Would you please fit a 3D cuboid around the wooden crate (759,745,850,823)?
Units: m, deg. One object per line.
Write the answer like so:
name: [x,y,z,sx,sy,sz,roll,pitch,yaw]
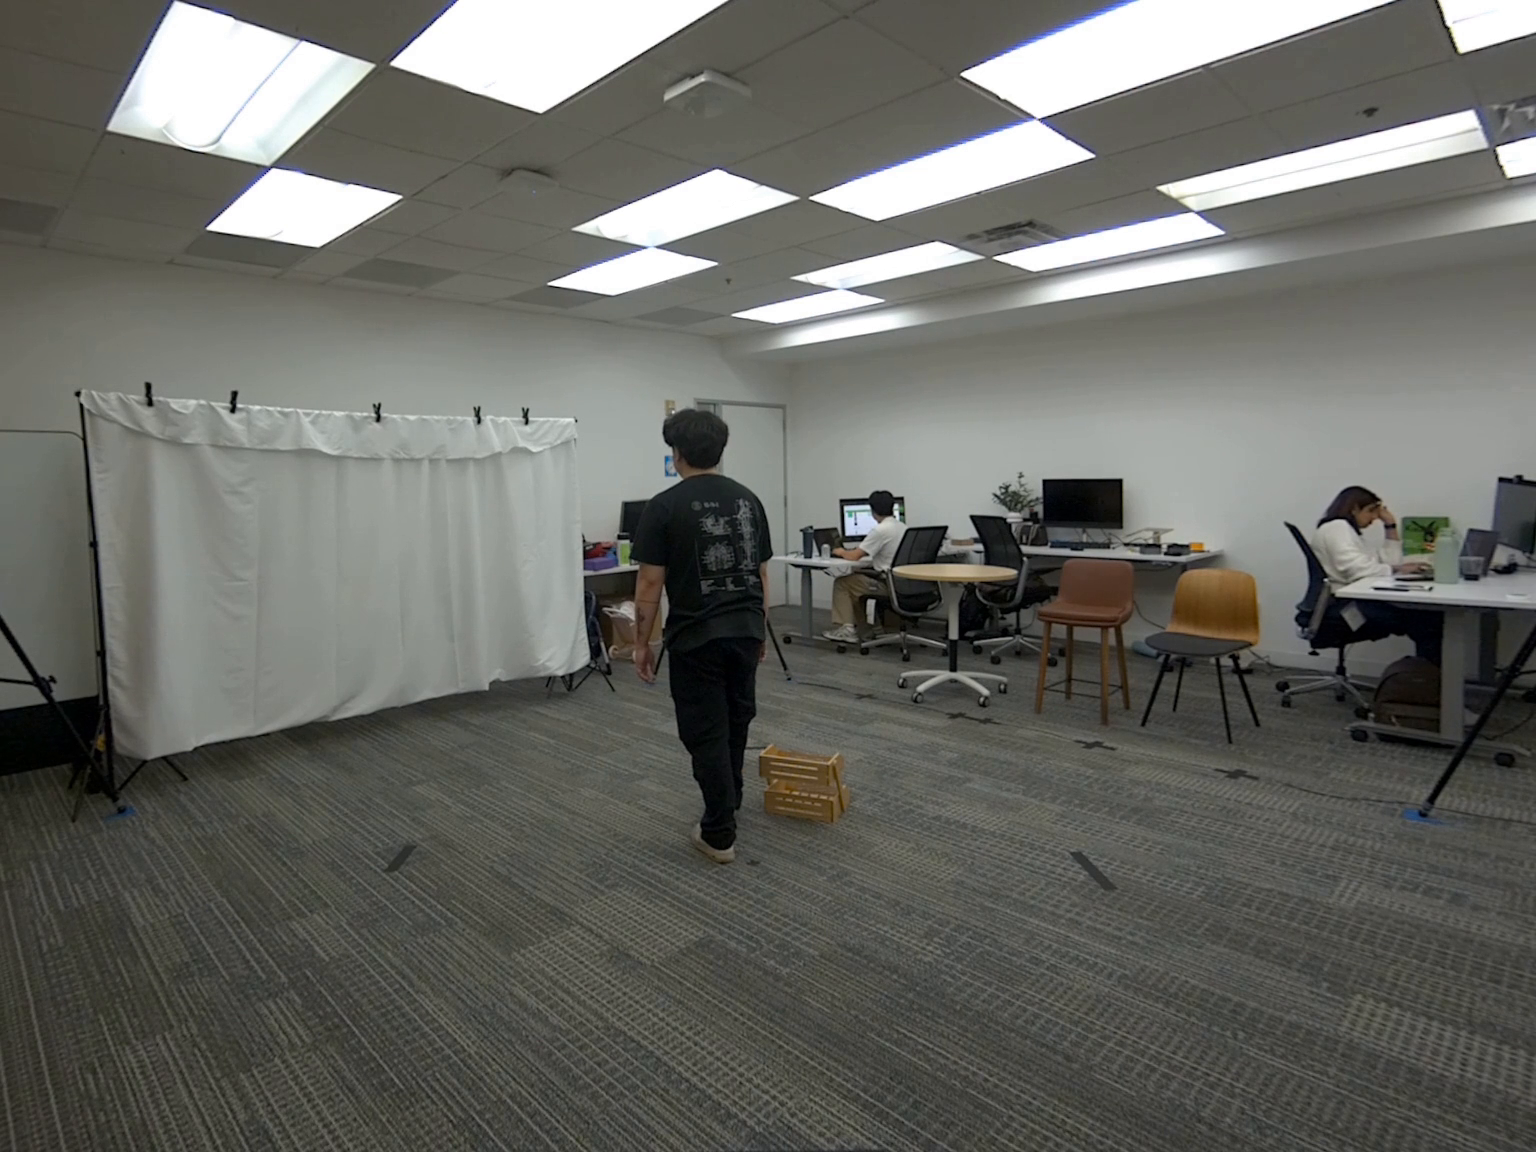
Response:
wooden crate: [0.162,0.850,3.601,0.331,0.272,0.297,1,6,23]
